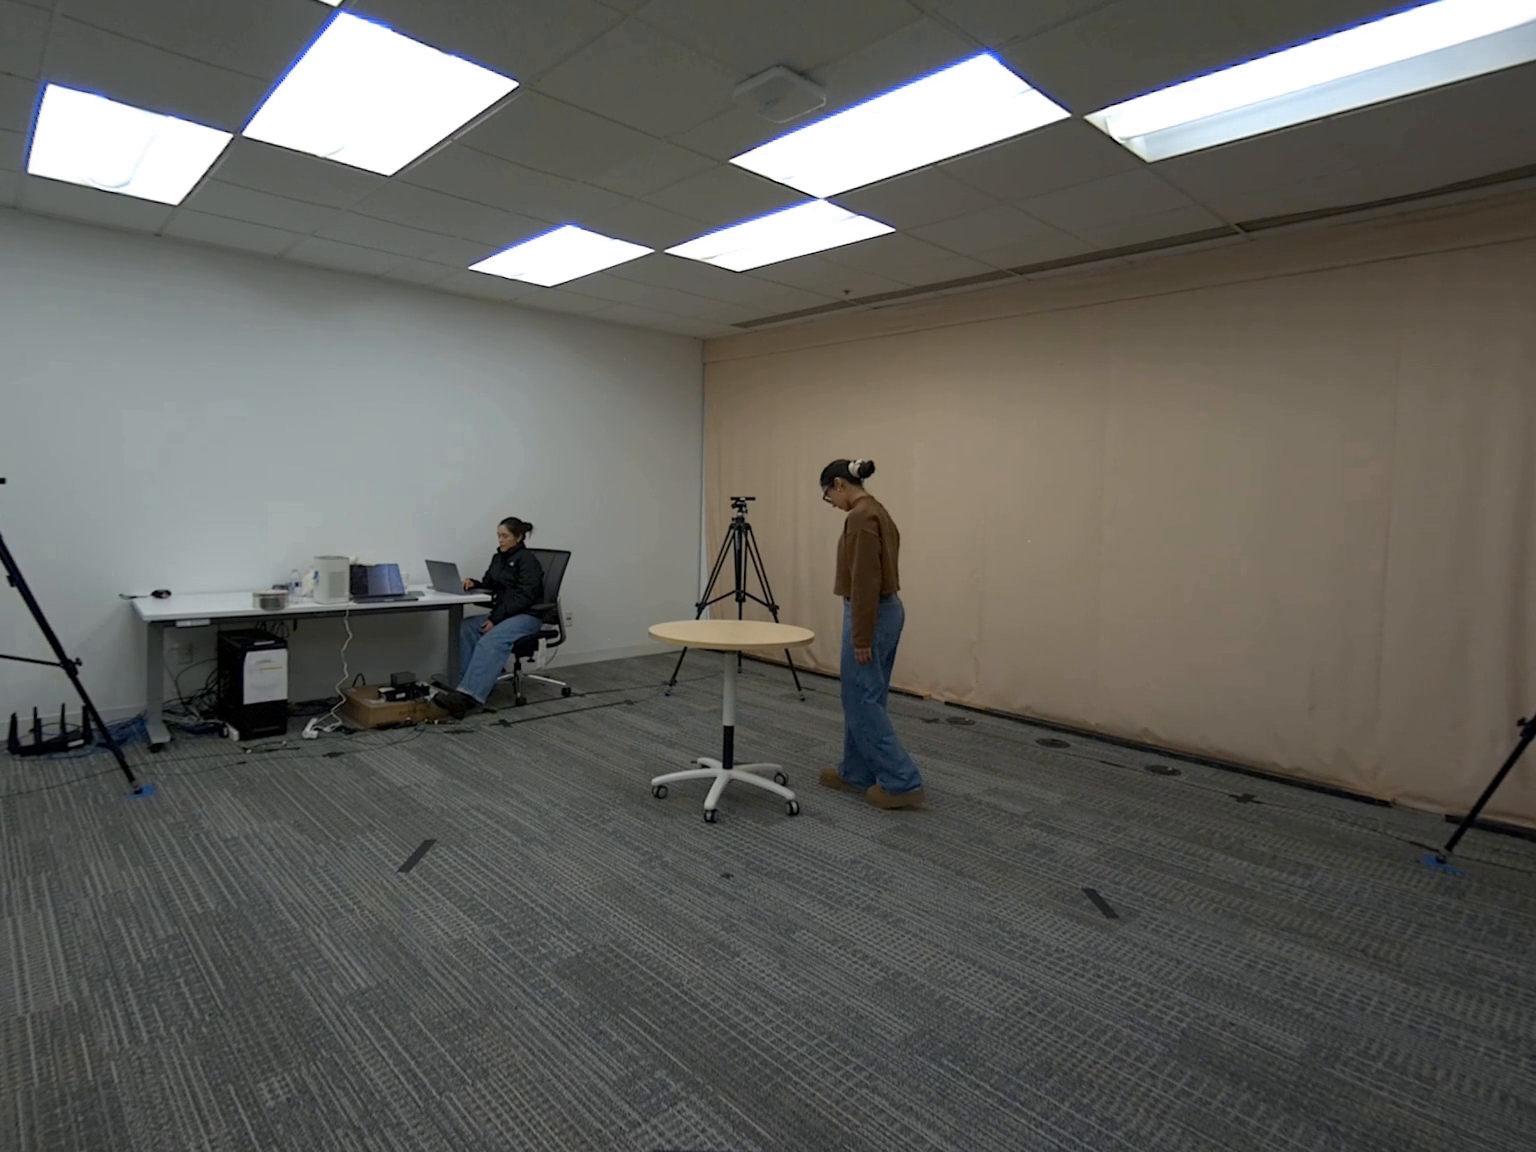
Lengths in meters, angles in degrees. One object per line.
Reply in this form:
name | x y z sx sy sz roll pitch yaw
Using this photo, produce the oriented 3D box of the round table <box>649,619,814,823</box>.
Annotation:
round table | -0.188 0.649 3.907 0.763 0.792 0.766 2 3 -1
